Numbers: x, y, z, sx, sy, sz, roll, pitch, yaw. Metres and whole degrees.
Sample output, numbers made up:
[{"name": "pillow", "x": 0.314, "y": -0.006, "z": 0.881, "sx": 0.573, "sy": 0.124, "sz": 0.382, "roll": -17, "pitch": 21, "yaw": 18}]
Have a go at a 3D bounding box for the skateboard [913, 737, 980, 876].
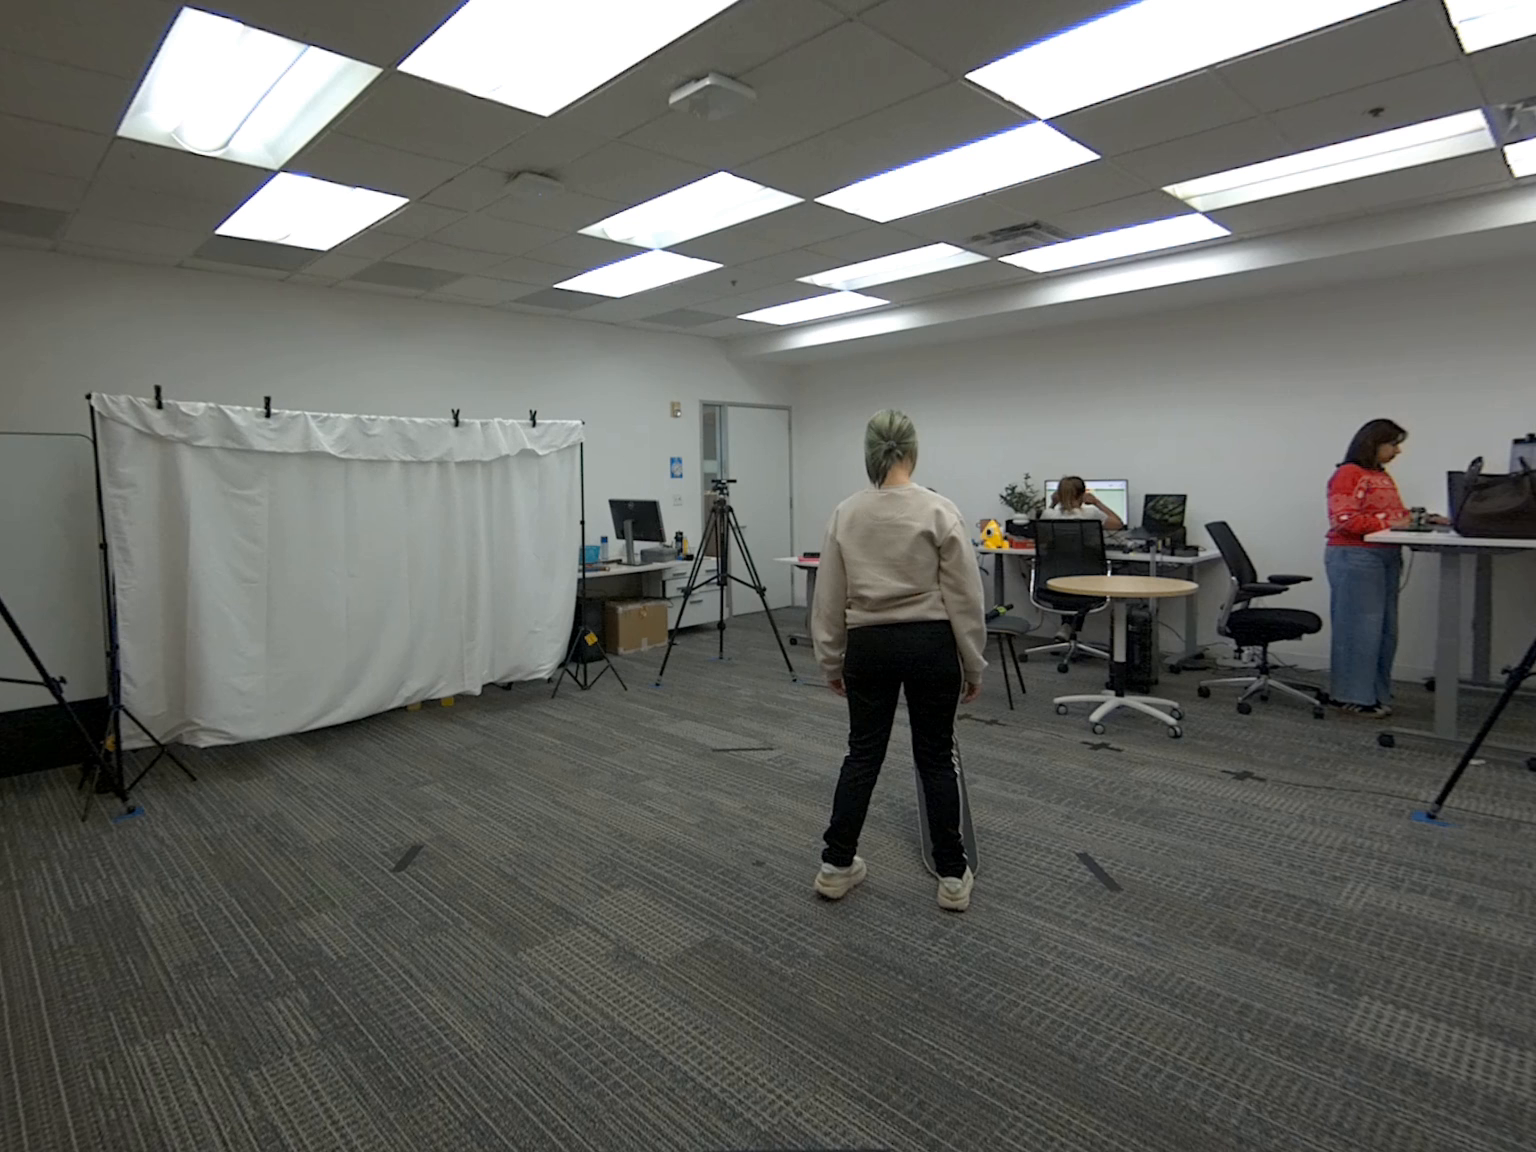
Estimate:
[{"name": "skateboard", "x": 0.680, "y": 0.872, "z": 3.297, "sx": 0.195, "sy": 0.107, "sz": 0.800, "roll": -1, "pitch": 33, "yaw": 7}]
